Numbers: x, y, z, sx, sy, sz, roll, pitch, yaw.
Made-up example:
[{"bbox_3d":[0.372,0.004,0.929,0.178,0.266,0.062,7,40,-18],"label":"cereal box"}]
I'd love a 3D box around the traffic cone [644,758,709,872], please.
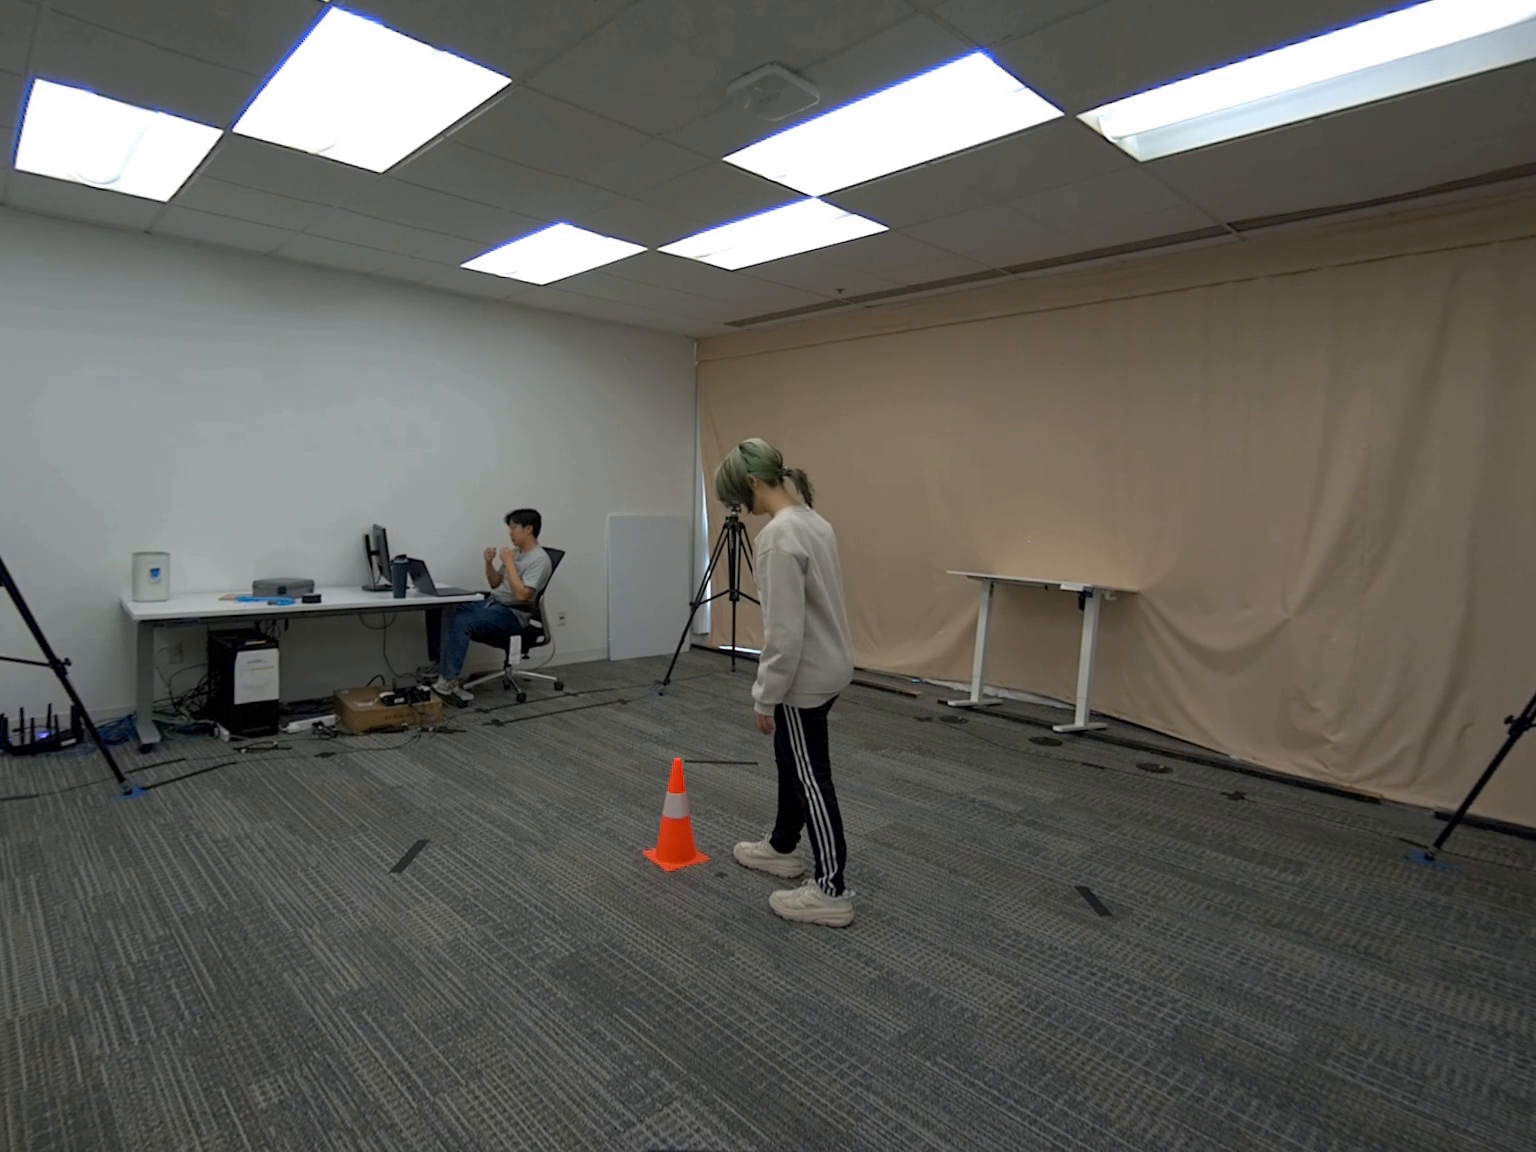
[{"bbox_3d":[-0.359,0.902,3.249,0.200,0.383,0.208,1,4,-34],"label":"traffic cone"}]
